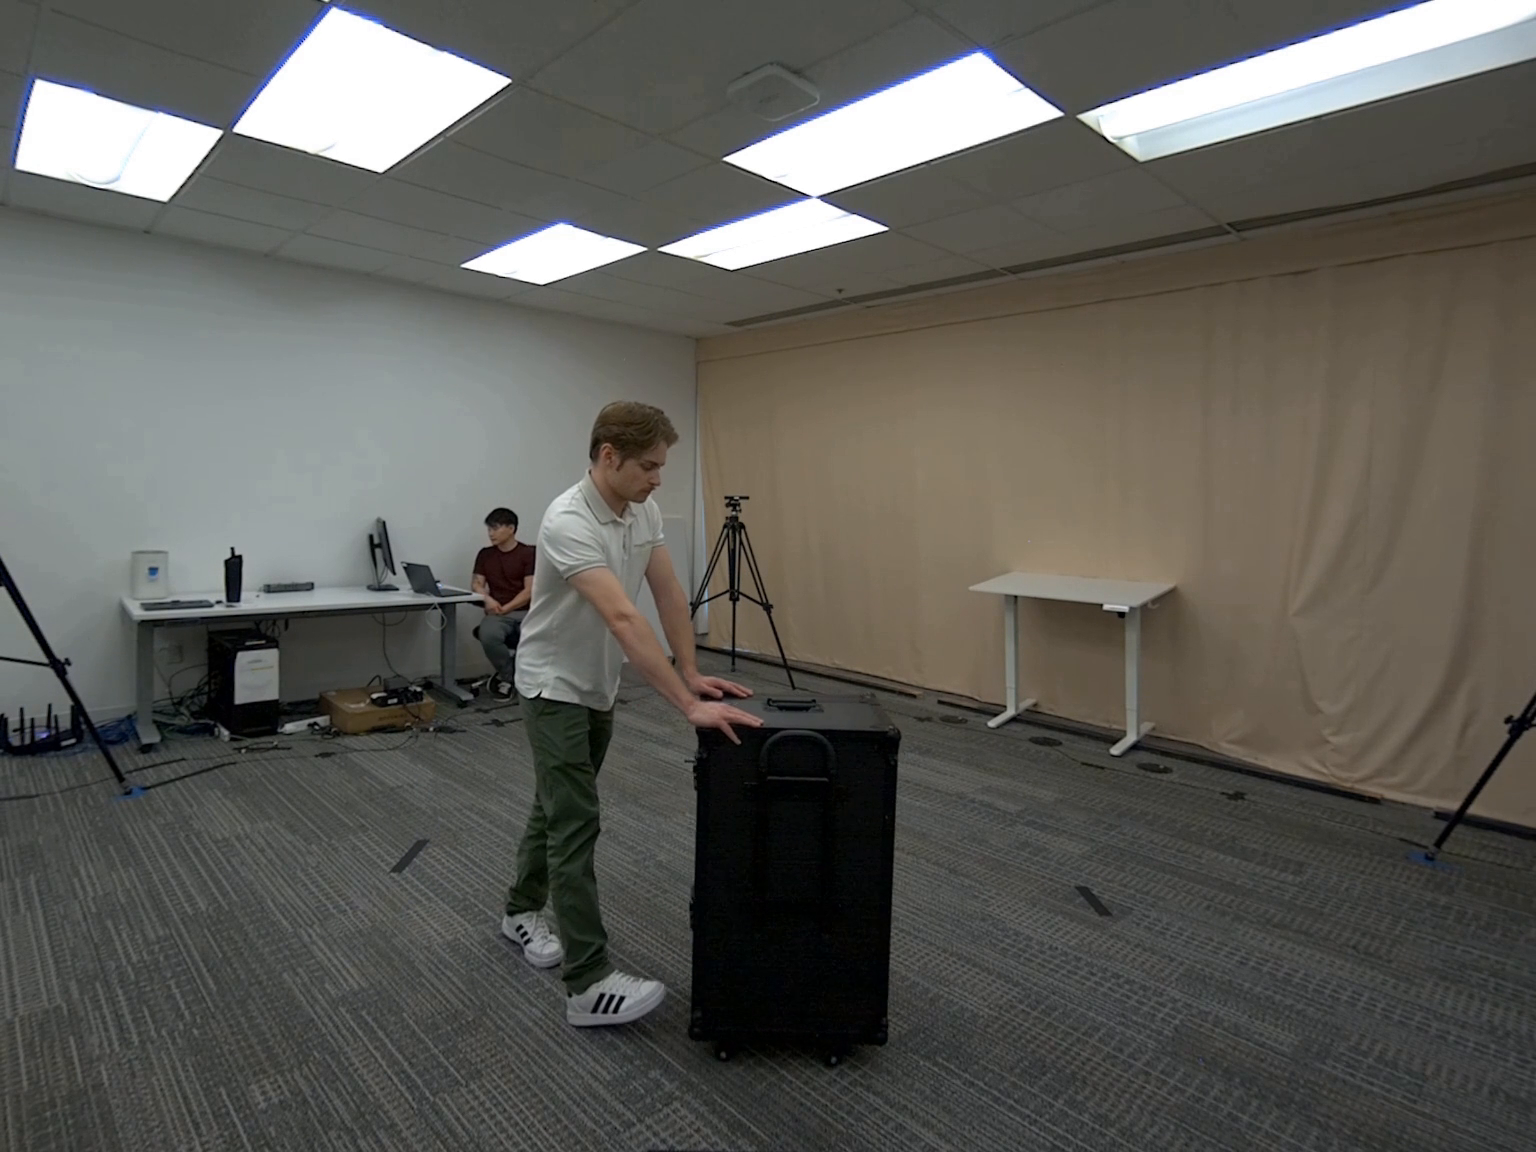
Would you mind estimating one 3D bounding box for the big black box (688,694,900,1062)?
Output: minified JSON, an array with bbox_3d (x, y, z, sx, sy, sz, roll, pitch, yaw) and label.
[{"bbox_3d":[0.054,0.774,2.191,0.523,0.866,0.386,1,3,-2],"label":"big black box"}]
